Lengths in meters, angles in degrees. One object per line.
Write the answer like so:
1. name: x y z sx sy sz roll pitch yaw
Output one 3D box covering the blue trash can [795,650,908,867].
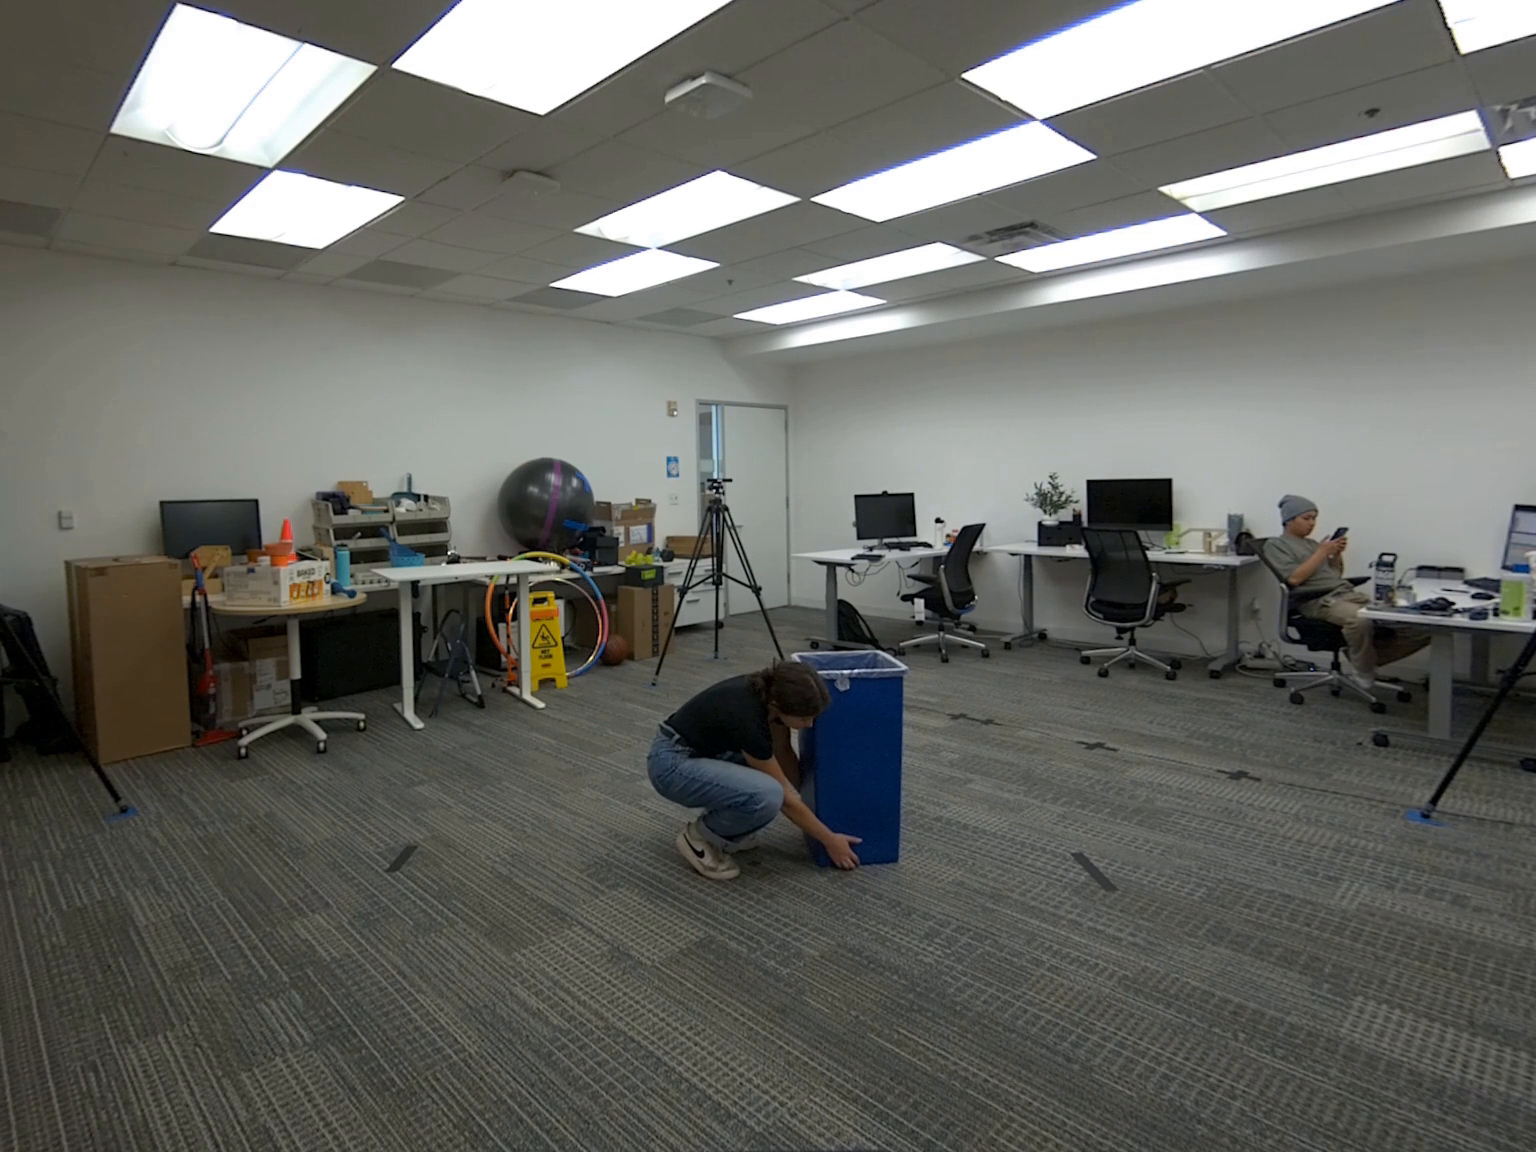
1. blue trash can: 0.305 0.667 3.208 0.375 0.711 0.378 -1 4 -8
